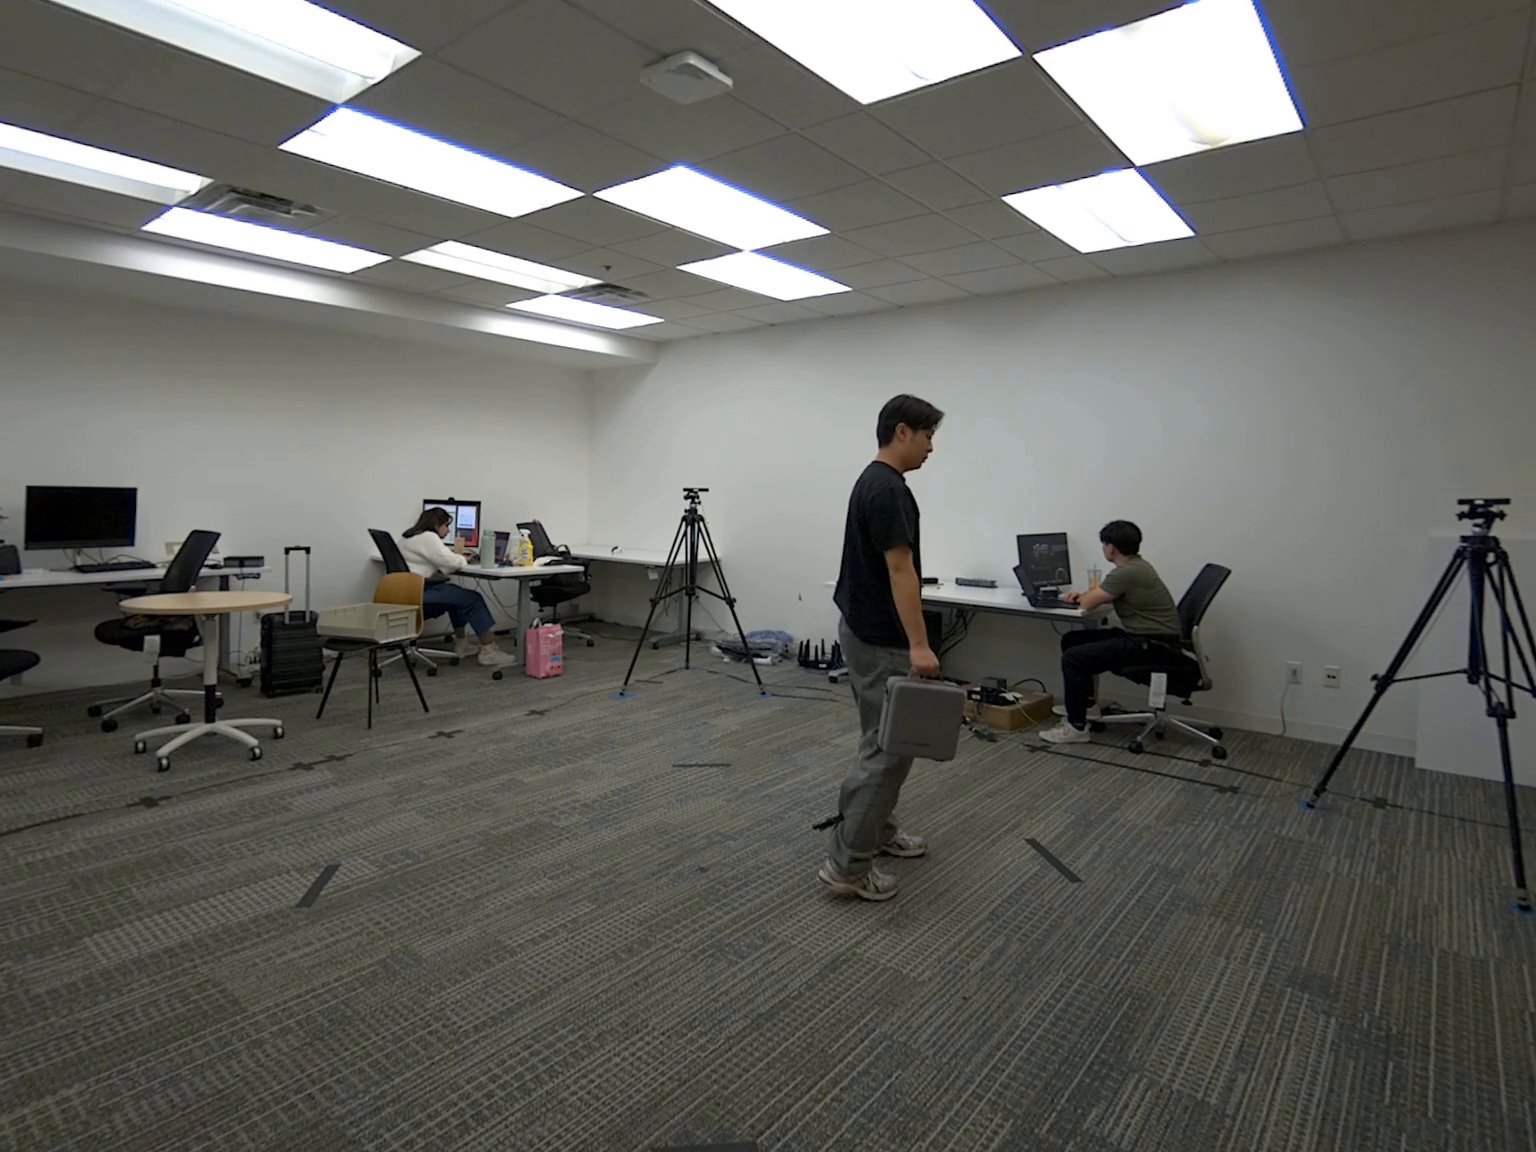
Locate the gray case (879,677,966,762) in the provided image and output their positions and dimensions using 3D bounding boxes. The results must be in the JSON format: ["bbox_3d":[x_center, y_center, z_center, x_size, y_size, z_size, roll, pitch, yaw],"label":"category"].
[{"bbox_3d":[0.501,0.453,2.830,0.261,0.285,0.104,7,8,-7],"label":"gray case"}]
